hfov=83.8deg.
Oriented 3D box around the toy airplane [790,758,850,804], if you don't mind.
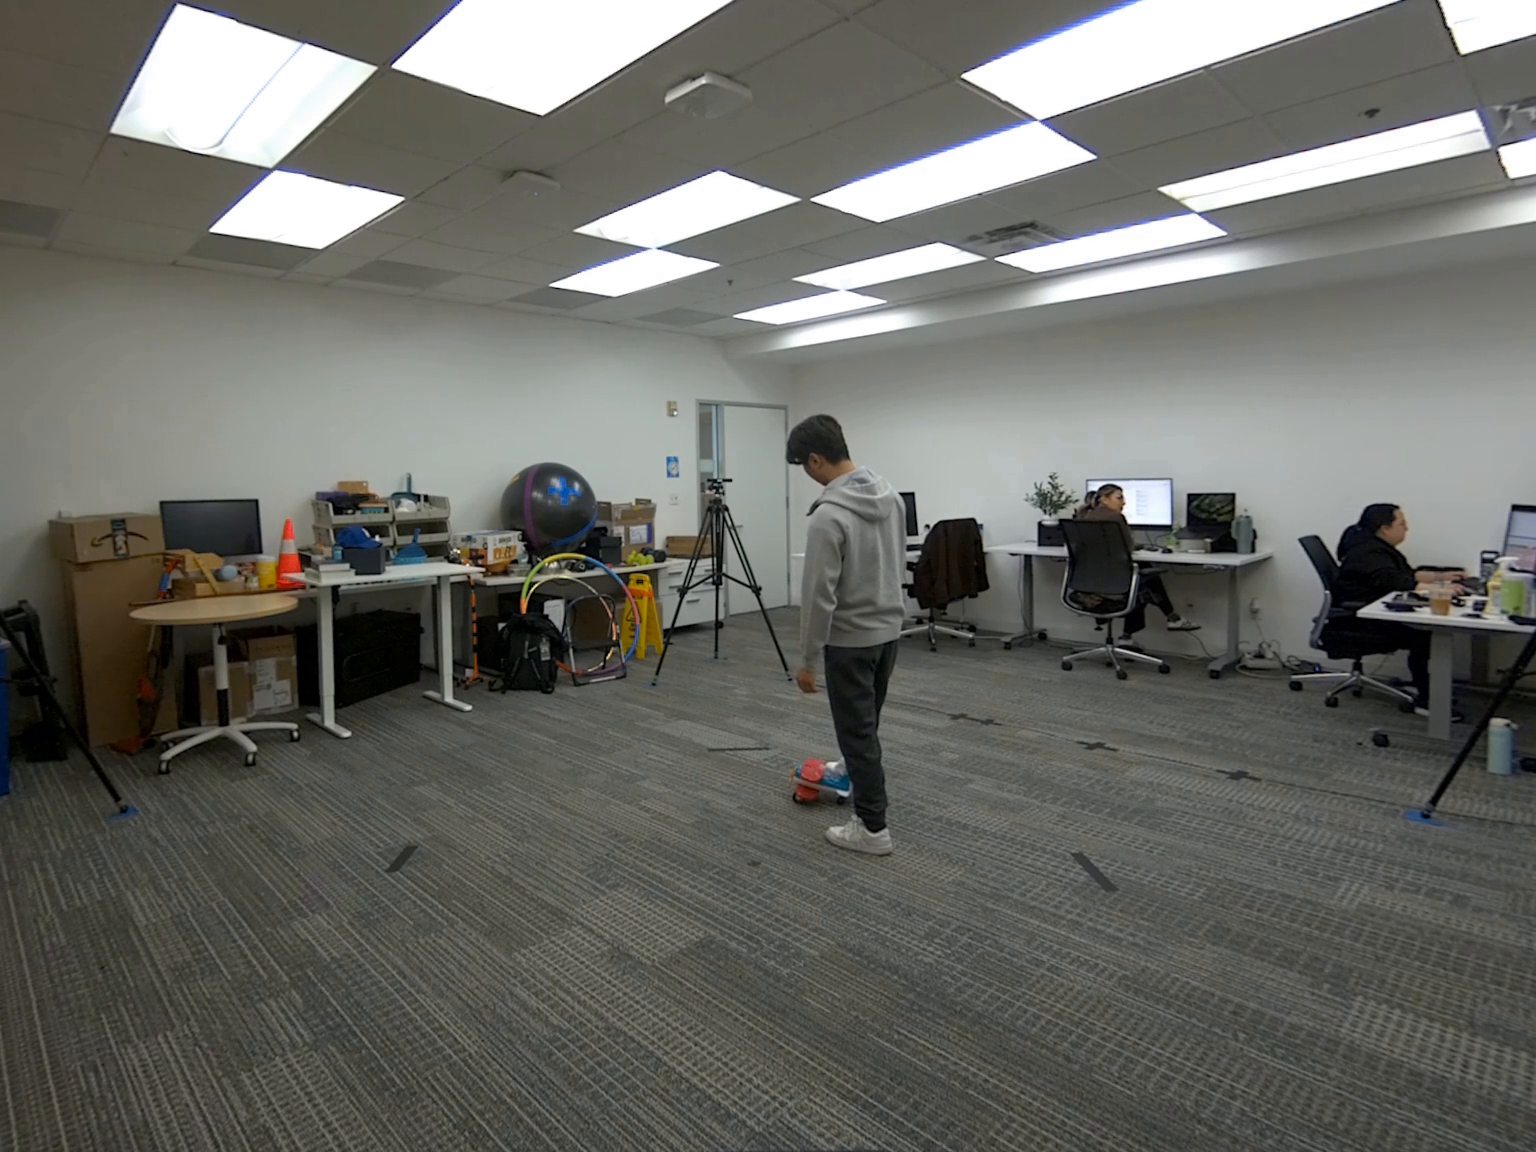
[{"bbox_3d":[0.229,0.897,3.715,0.256,0.156,0.255,-3,5,-15],"label":"toy airplane"}]
